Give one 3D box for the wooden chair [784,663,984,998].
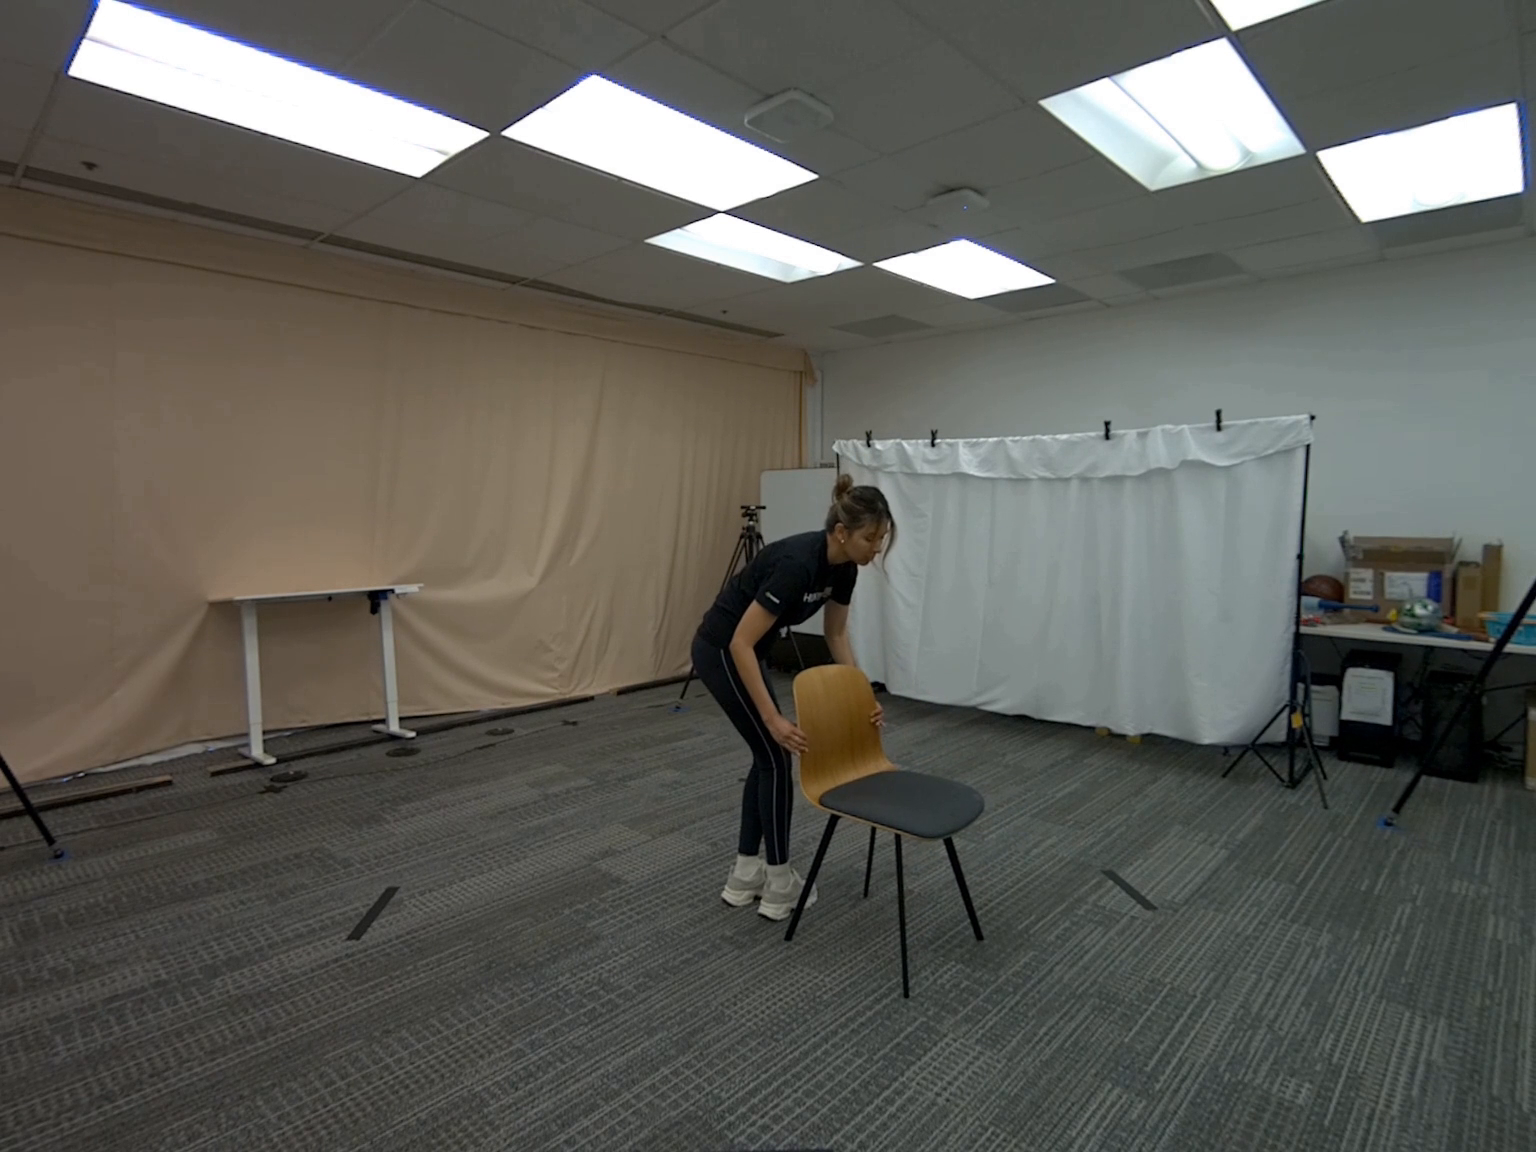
[{"bbox_3d":[0.385,0.738,2.656,0.539,0.878,0.463,-4,0,43],"label":"wooden chair"}]
